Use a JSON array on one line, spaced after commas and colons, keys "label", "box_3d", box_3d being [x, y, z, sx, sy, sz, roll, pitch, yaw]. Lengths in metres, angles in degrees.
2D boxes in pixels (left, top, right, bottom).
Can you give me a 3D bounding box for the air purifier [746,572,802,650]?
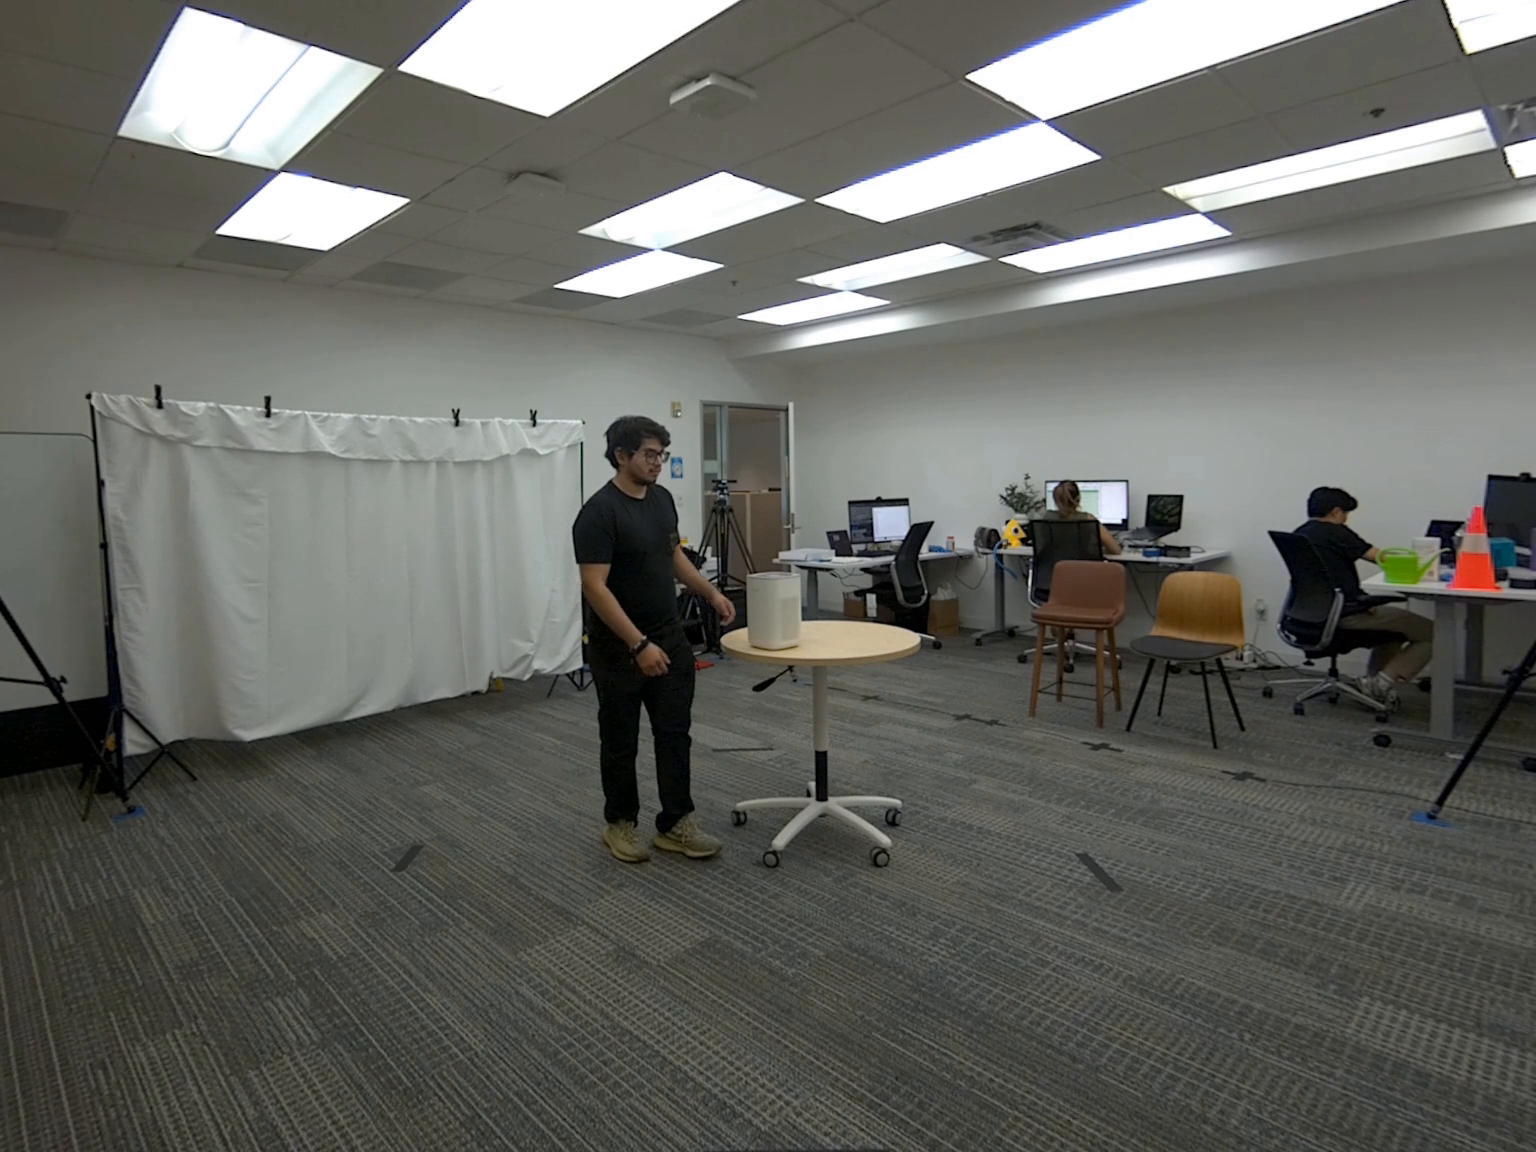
[{"label": "air purifier", "box_3d": [0.020, 0.126, 3.154, 0.167, 0.264, 0.176, -6, 7, -41]}]
